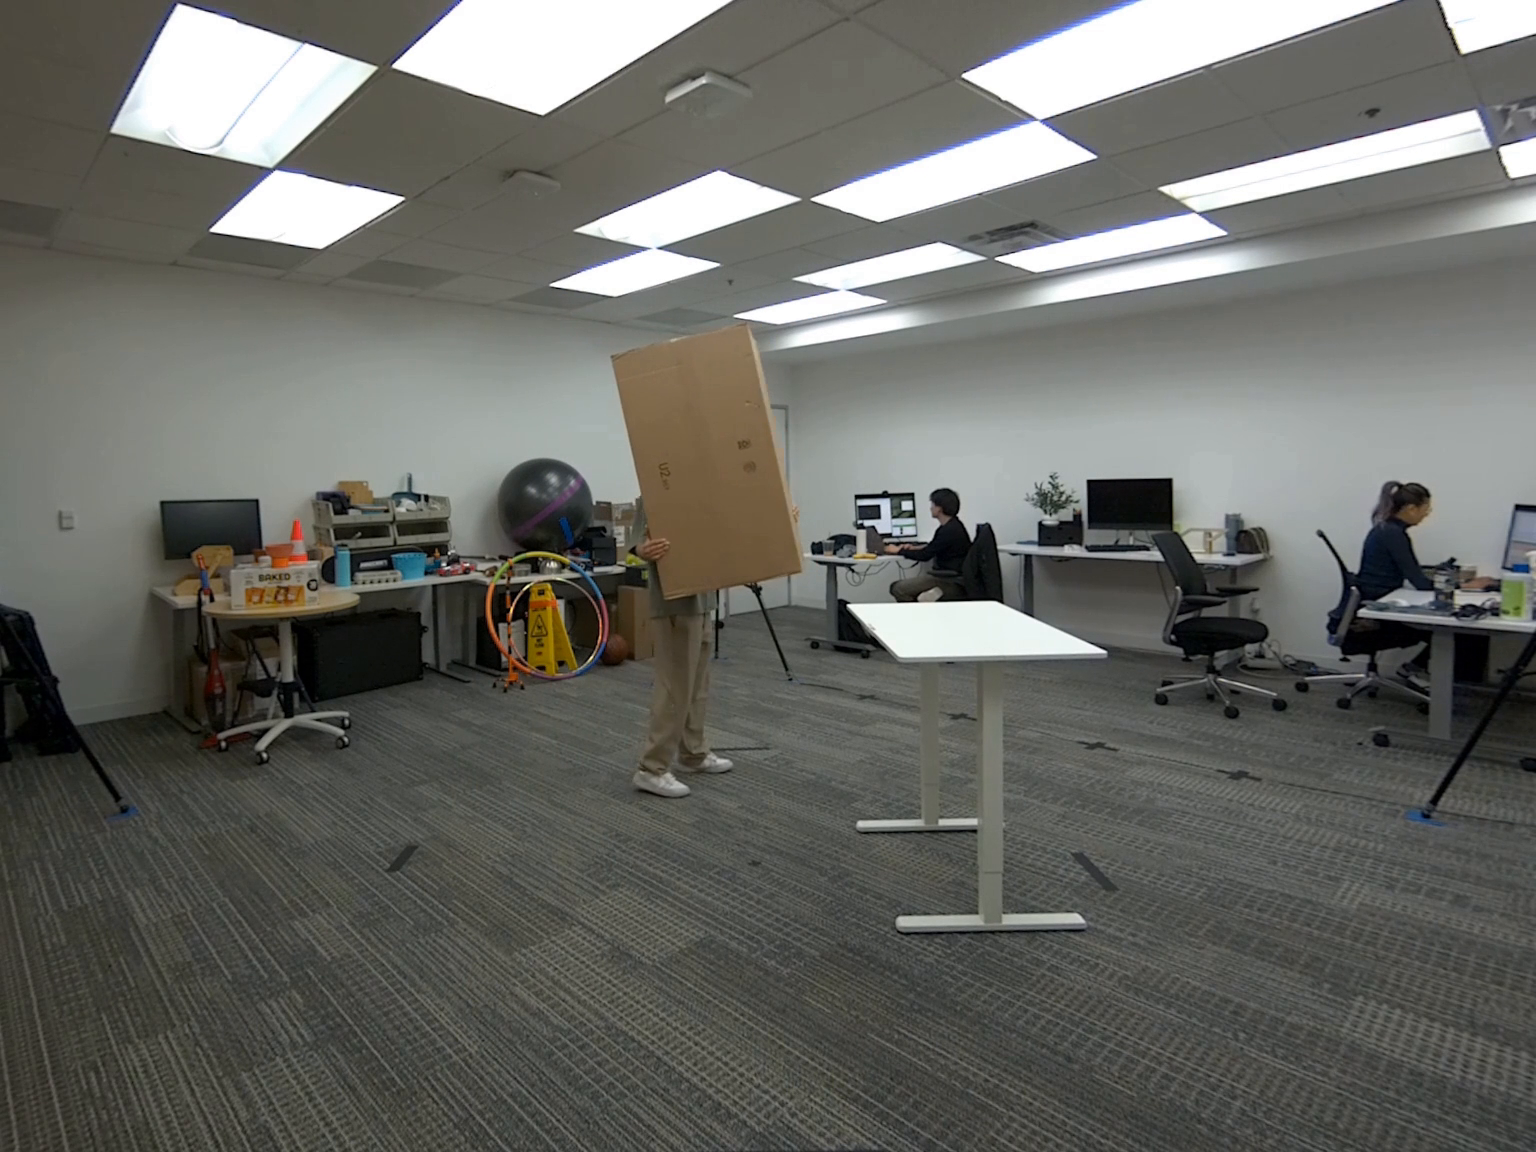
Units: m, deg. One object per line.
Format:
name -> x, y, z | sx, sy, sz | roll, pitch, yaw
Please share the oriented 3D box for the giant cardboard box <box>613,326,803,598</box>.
giant cardboard box -> -0.236, -0.468, 3.634 | 0.580, 1.025, 0.424 | -12, 1, 6
